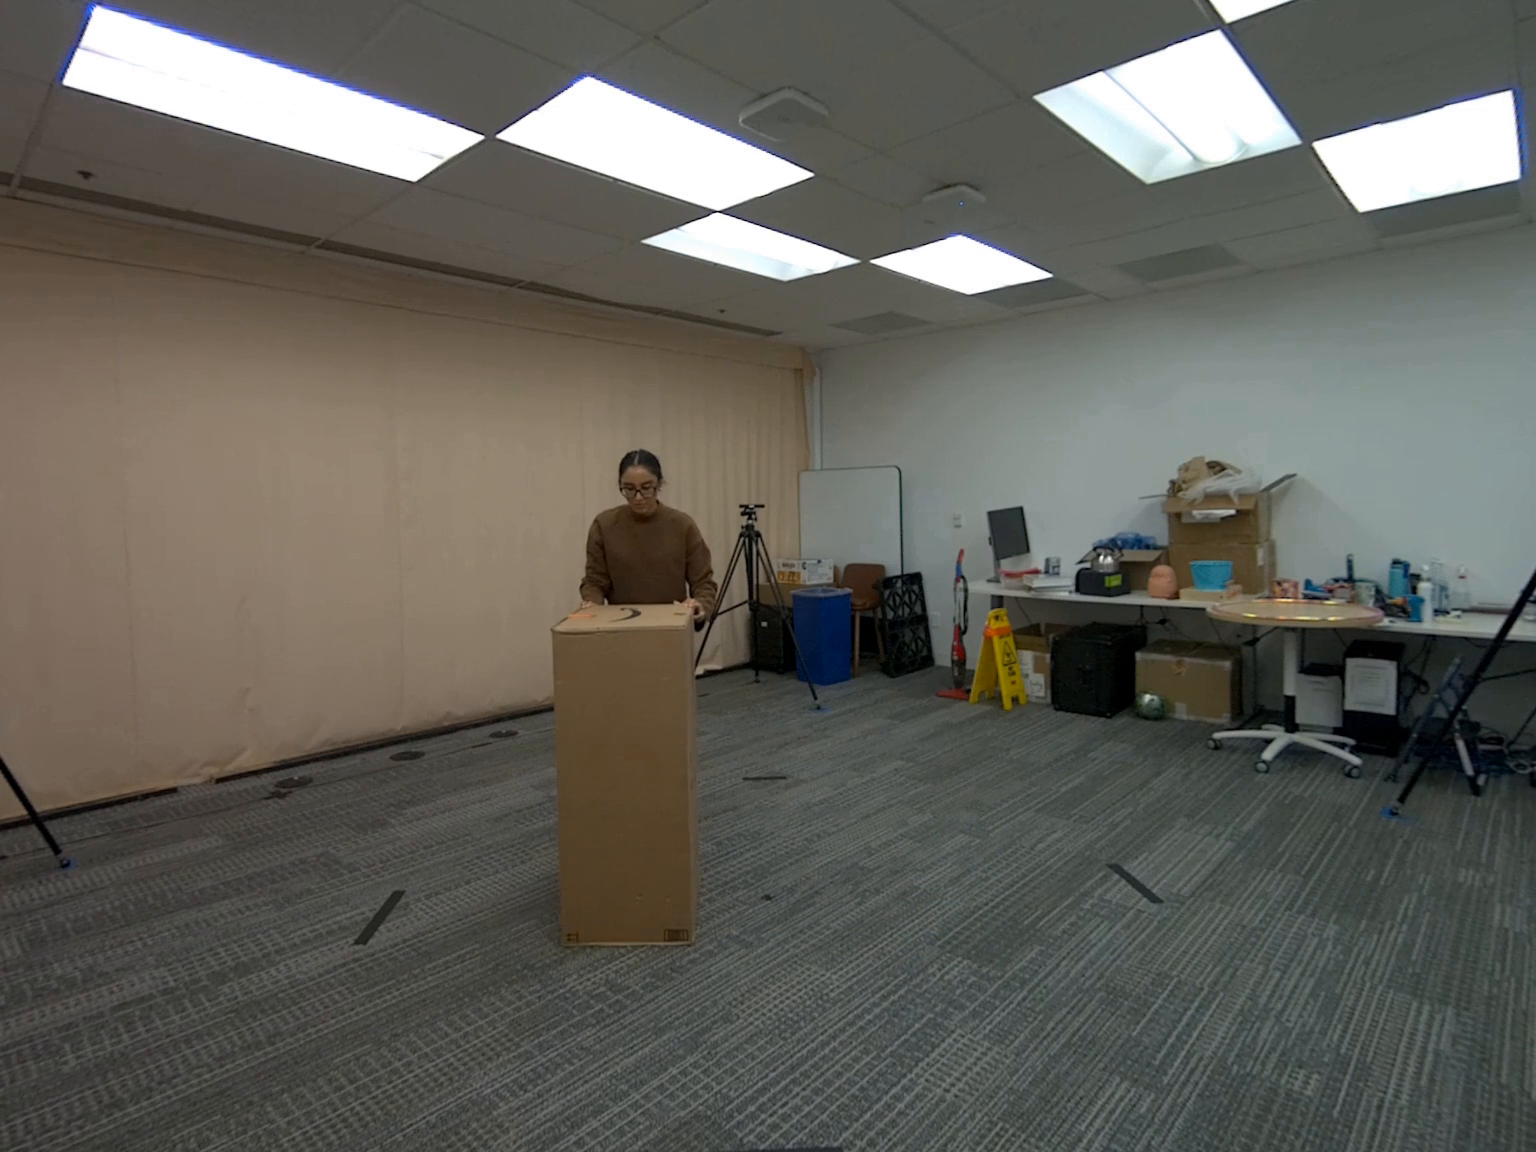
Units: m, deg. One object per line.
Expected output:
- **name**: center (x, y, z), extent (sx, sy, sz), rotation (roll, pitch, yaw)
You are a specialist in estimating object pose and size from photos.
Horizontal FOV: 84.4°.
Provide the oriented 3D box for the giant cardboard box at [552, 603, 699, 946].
- **giant cardboard box**: center (-0.476, 0.651, 2.928), extent (0.447, 1.025, 0.585), rotation (-1, 3, -2)
